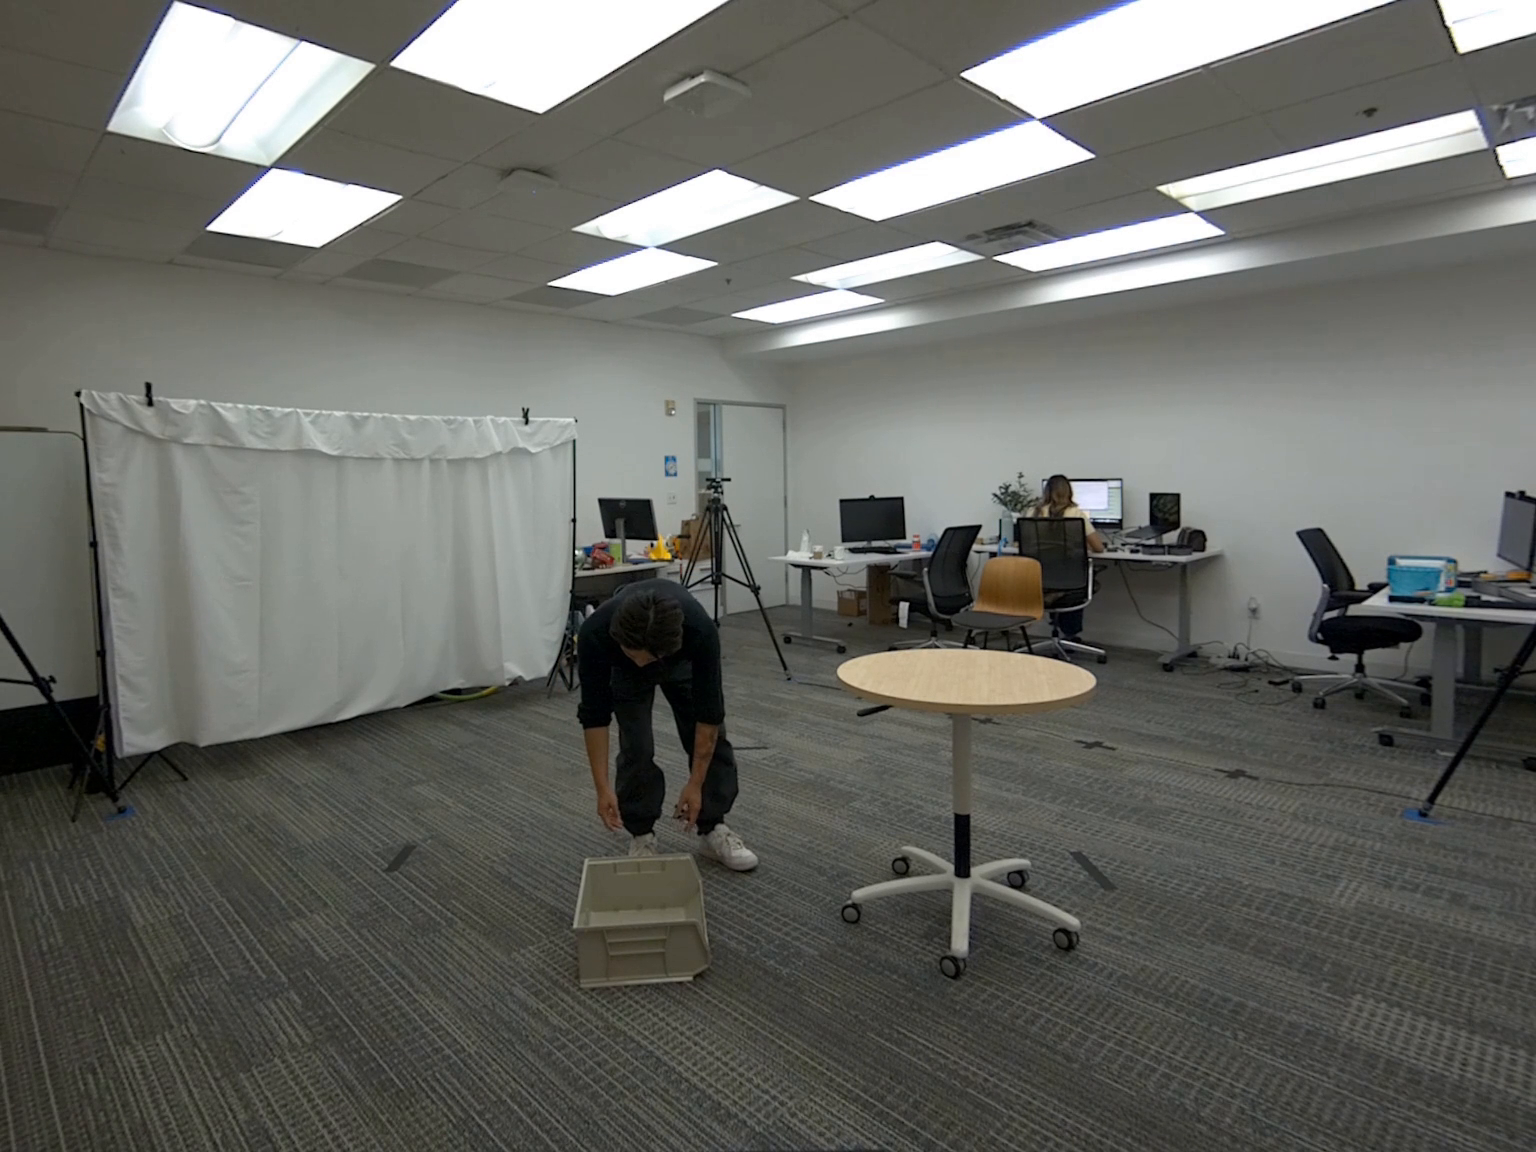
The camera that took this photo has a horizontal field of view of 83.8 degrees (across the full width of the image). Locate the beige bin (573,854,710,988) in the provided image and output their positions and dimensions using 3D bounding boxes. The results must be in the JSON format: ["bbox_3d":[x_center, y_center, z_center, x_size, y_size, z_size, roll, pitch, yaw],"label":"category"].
[{"bbox_3d":[-0.377,1.027,2.571,0.376,0.188,0.427,-2,7,-5],"label":"beige bin"}]
